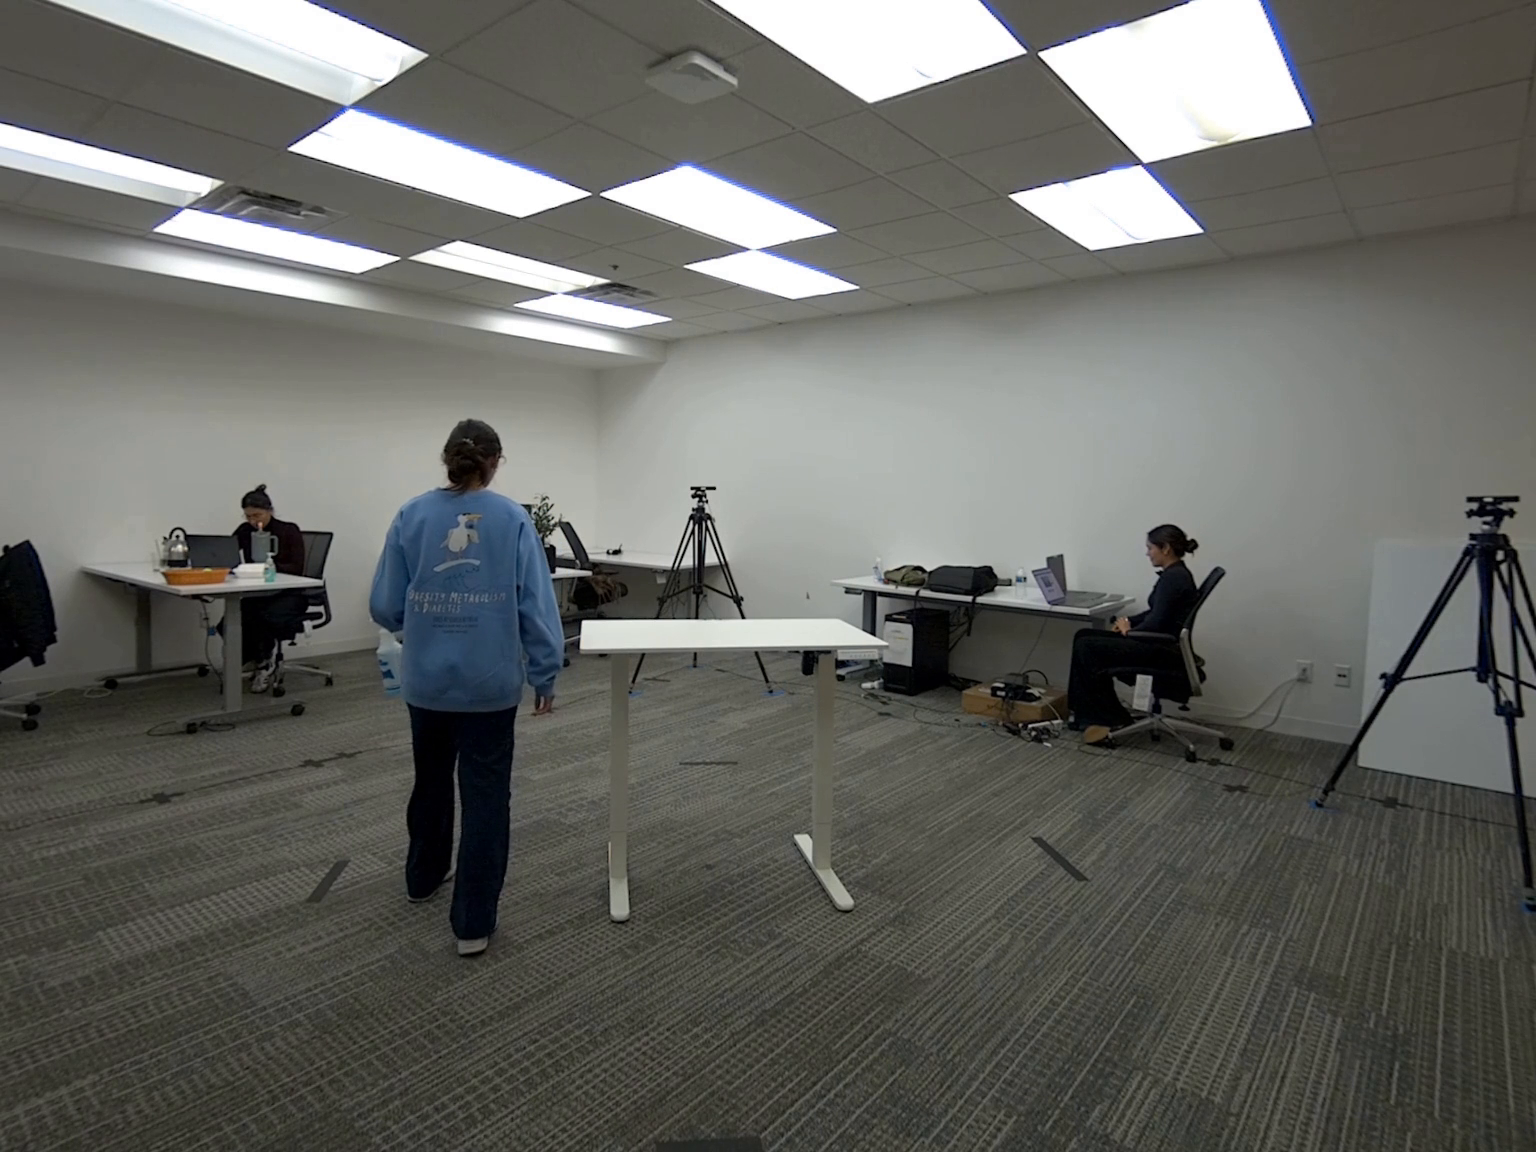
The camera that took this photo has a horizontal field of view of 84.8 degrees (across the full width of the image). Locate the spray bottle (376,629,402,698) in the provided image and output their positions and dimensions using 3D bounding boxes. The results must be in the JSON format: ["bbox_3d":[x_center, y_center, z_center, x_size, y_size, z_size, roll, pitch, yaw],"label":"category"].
[{"bbox_3d":[-1.327,0.260,2.965,0.090,0.296,0.088,-9,5,-5],"label":"spray bottle"}]
